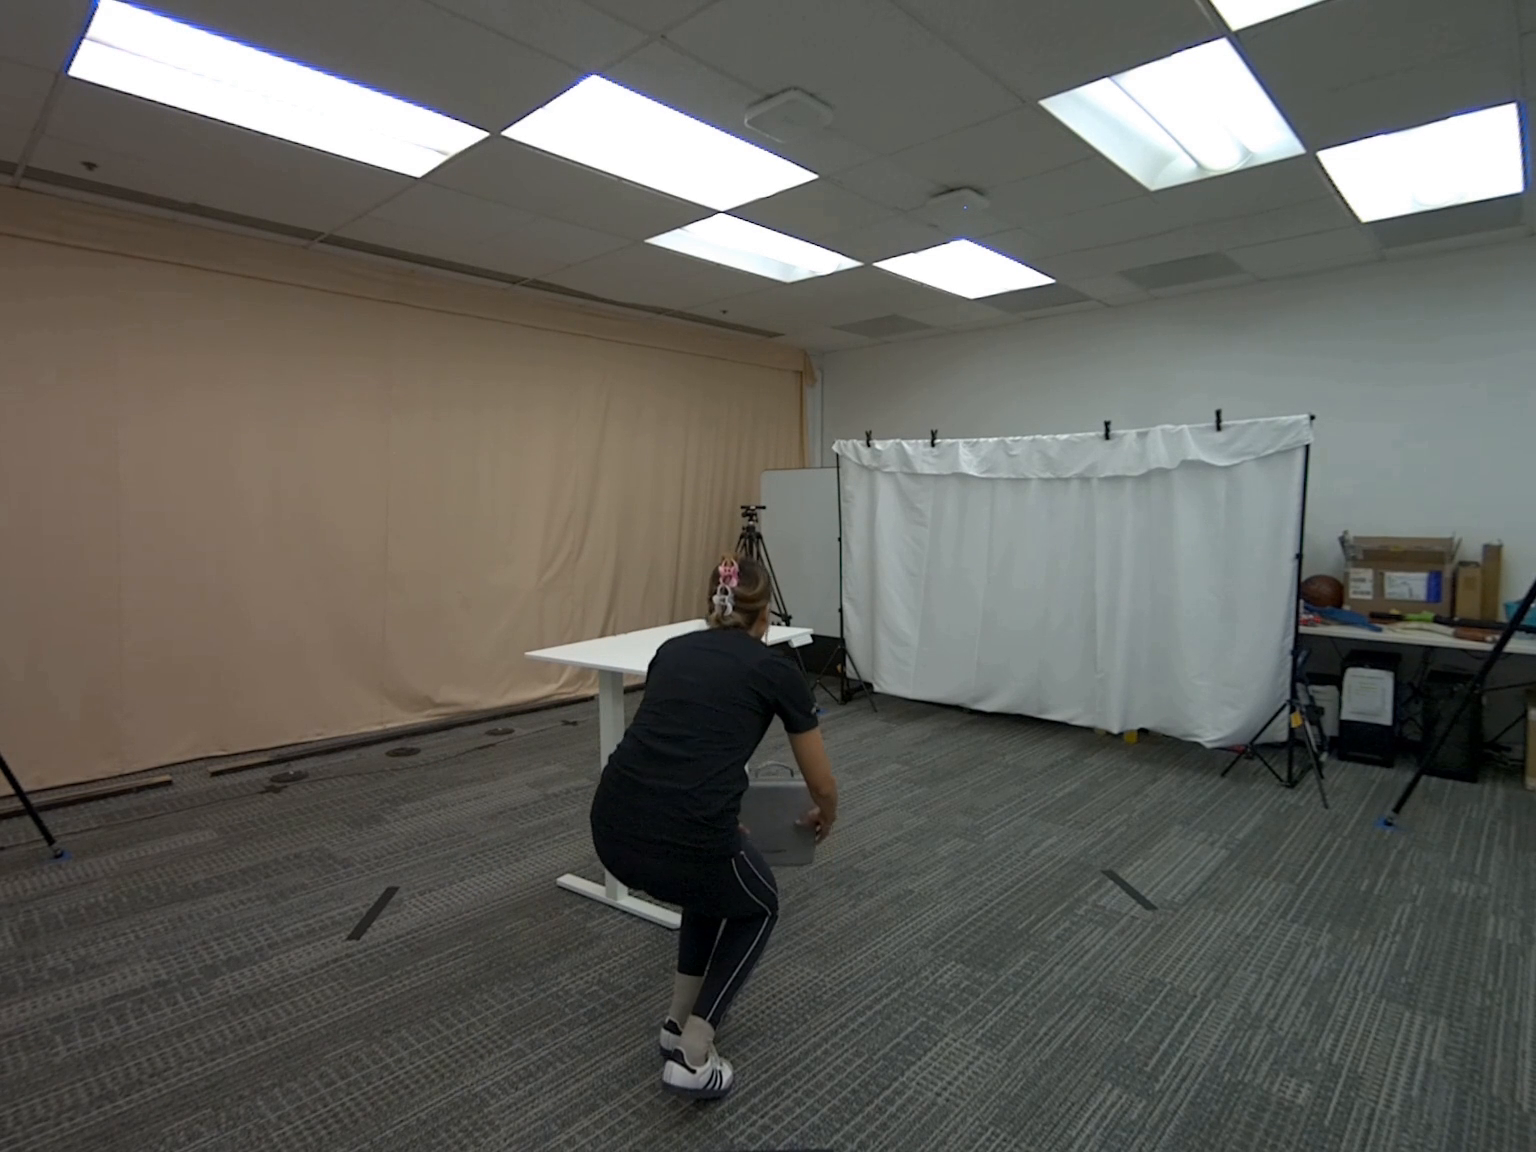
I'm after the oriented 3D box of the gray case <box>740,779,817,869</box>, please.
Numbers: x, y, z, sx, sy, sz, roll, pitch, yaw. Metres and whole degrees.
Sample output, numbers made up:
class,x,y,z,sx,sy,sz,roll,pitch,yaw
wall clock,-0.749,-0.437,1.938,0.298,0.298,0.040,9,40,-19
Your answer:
class,x,y,z,sx,sy,sz,roll,pitch,yaw
gray case,0.023,0.730,2.511,0.253,0.261,0.105,4,-5,-13
